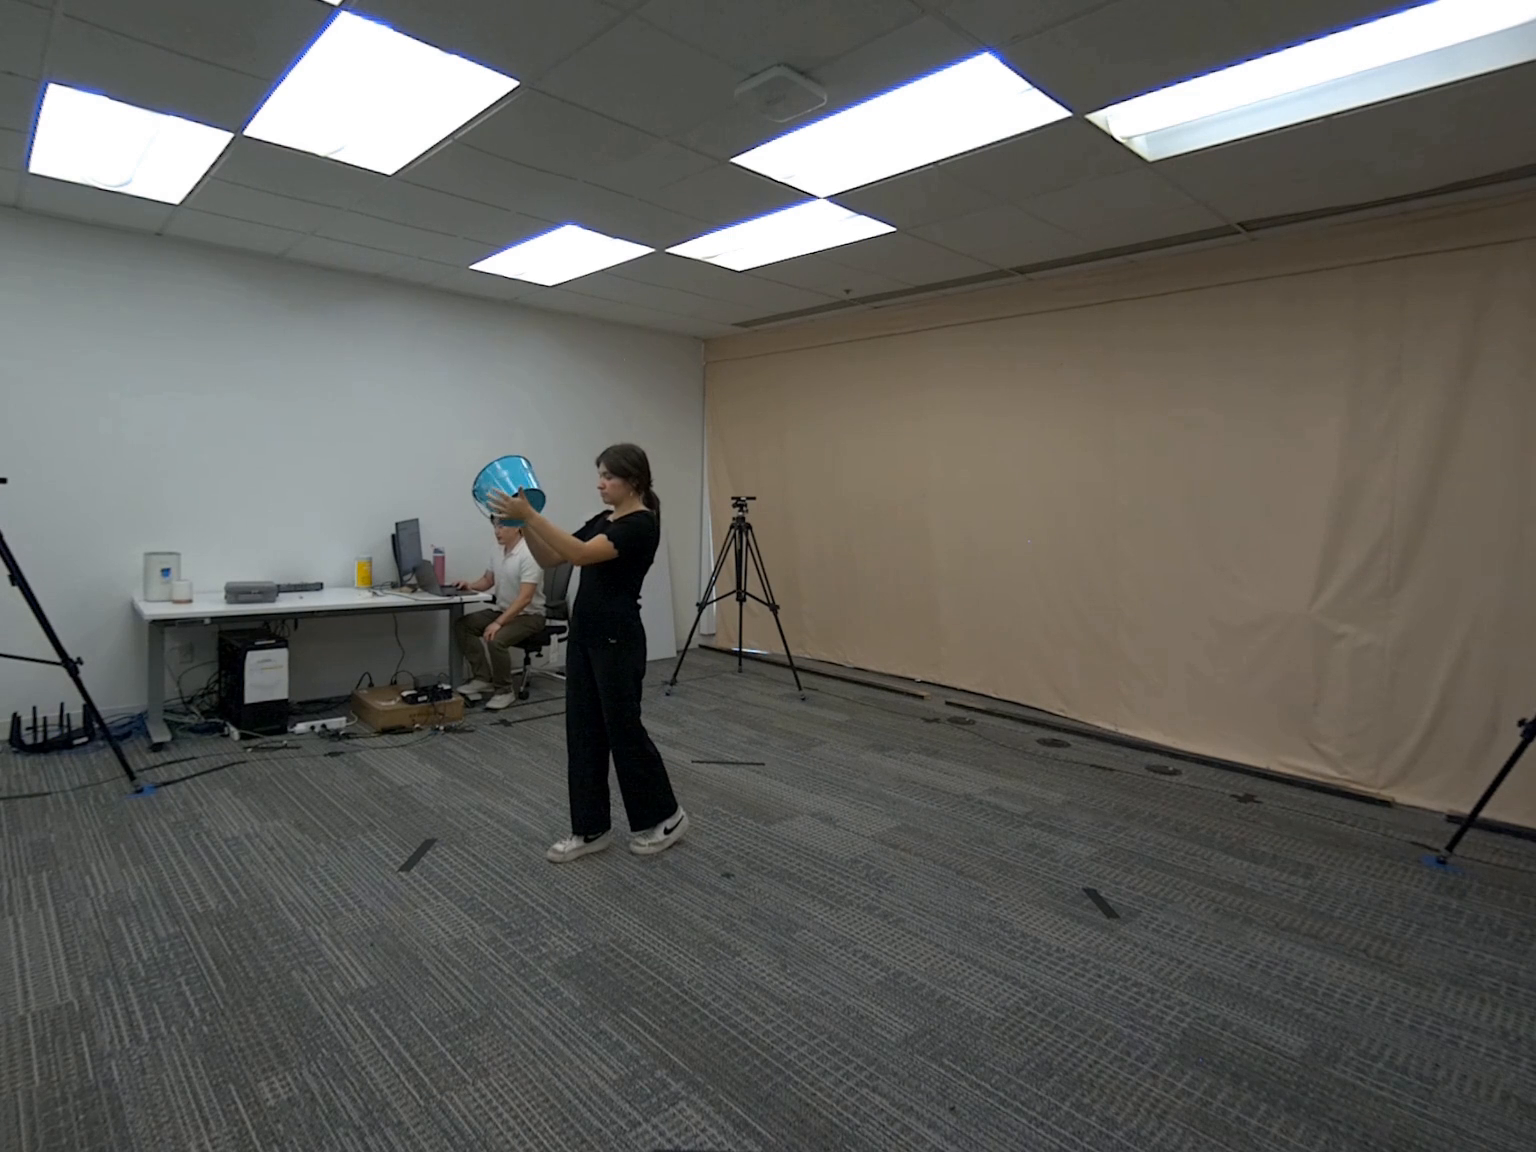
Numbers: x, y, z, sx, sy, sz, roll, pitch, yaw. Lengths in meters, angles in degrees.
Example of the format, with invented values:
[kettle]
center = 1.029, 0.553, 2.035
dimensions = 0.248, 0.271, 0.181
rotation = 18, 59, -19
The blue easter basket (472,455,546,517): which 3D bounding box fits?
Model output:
[blue easter basket]
center = -0.914, -0.292, 2.989
dimensions = 0.238, 0.243, 0.160
rotation = -4, 48, -52
